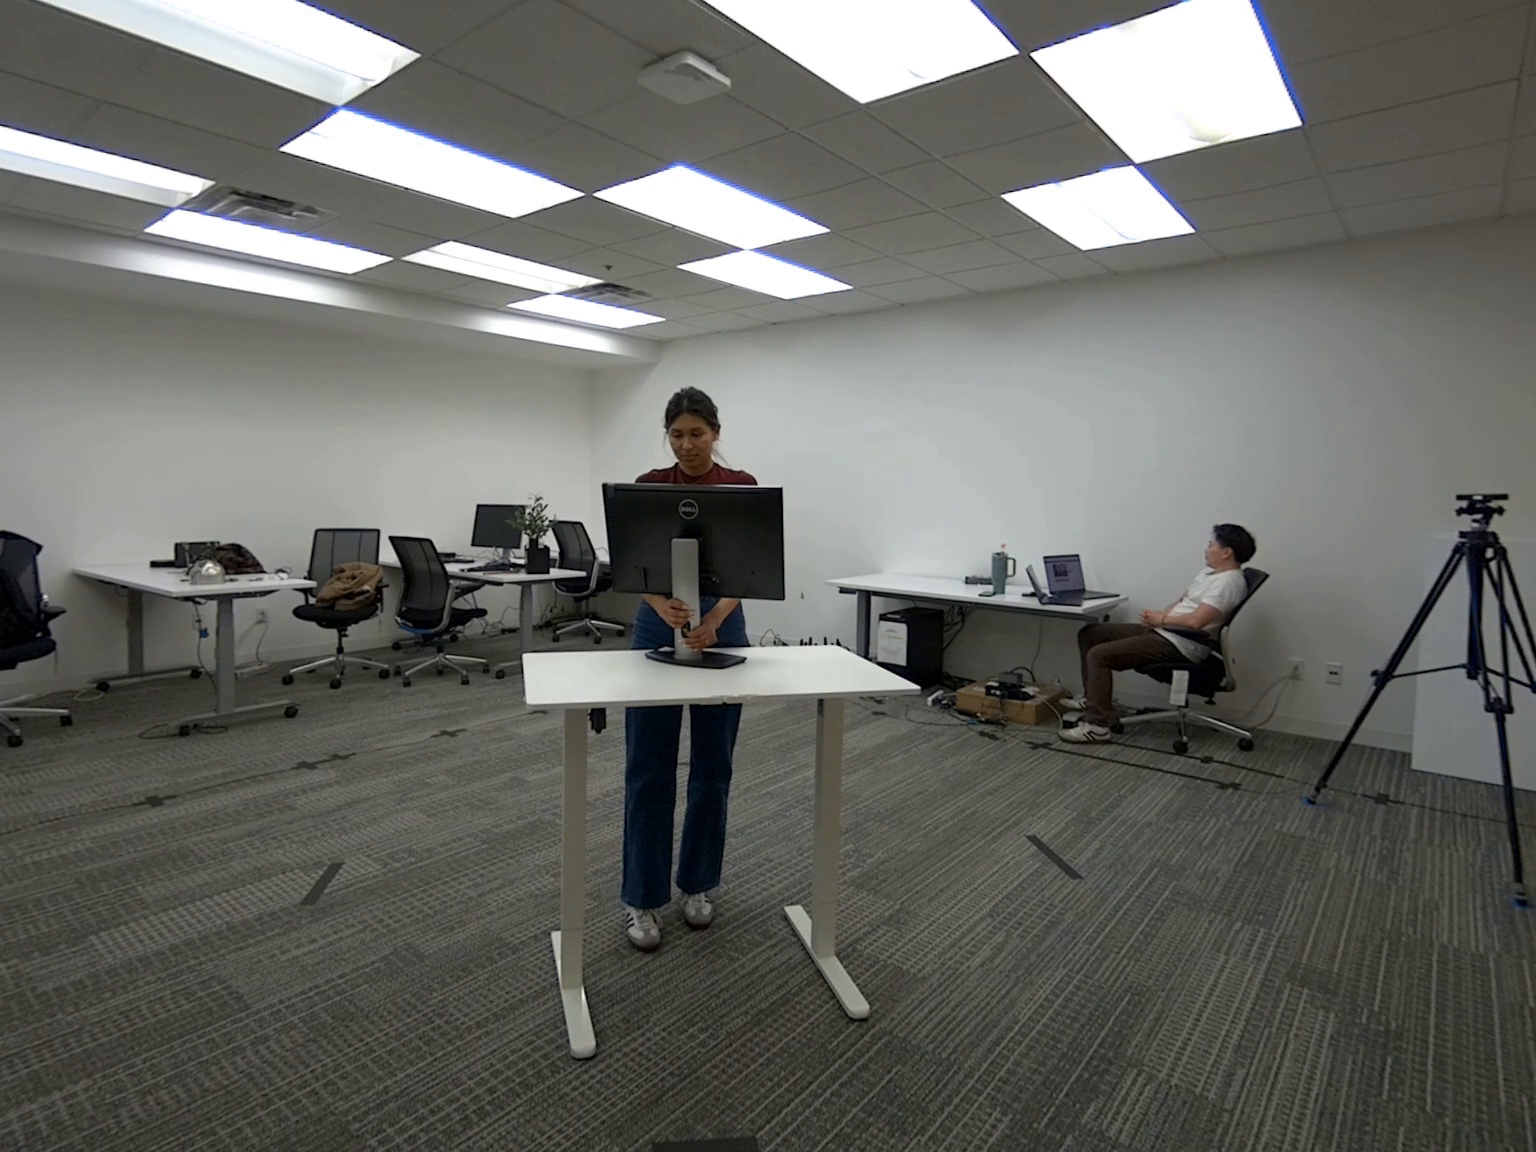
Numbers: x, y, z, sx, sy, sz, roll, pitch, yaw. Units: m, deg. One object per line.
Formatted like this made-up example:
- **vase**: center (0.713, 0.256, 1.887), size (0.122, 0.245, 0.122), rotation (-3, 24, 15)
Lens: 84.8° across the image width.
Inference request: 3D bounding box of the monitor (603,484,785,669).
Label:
- **monitor**: center (-0.241, -0.007, 2.475), size (0.545, 0.519, 0.186), rotation (1, 6, 11)
